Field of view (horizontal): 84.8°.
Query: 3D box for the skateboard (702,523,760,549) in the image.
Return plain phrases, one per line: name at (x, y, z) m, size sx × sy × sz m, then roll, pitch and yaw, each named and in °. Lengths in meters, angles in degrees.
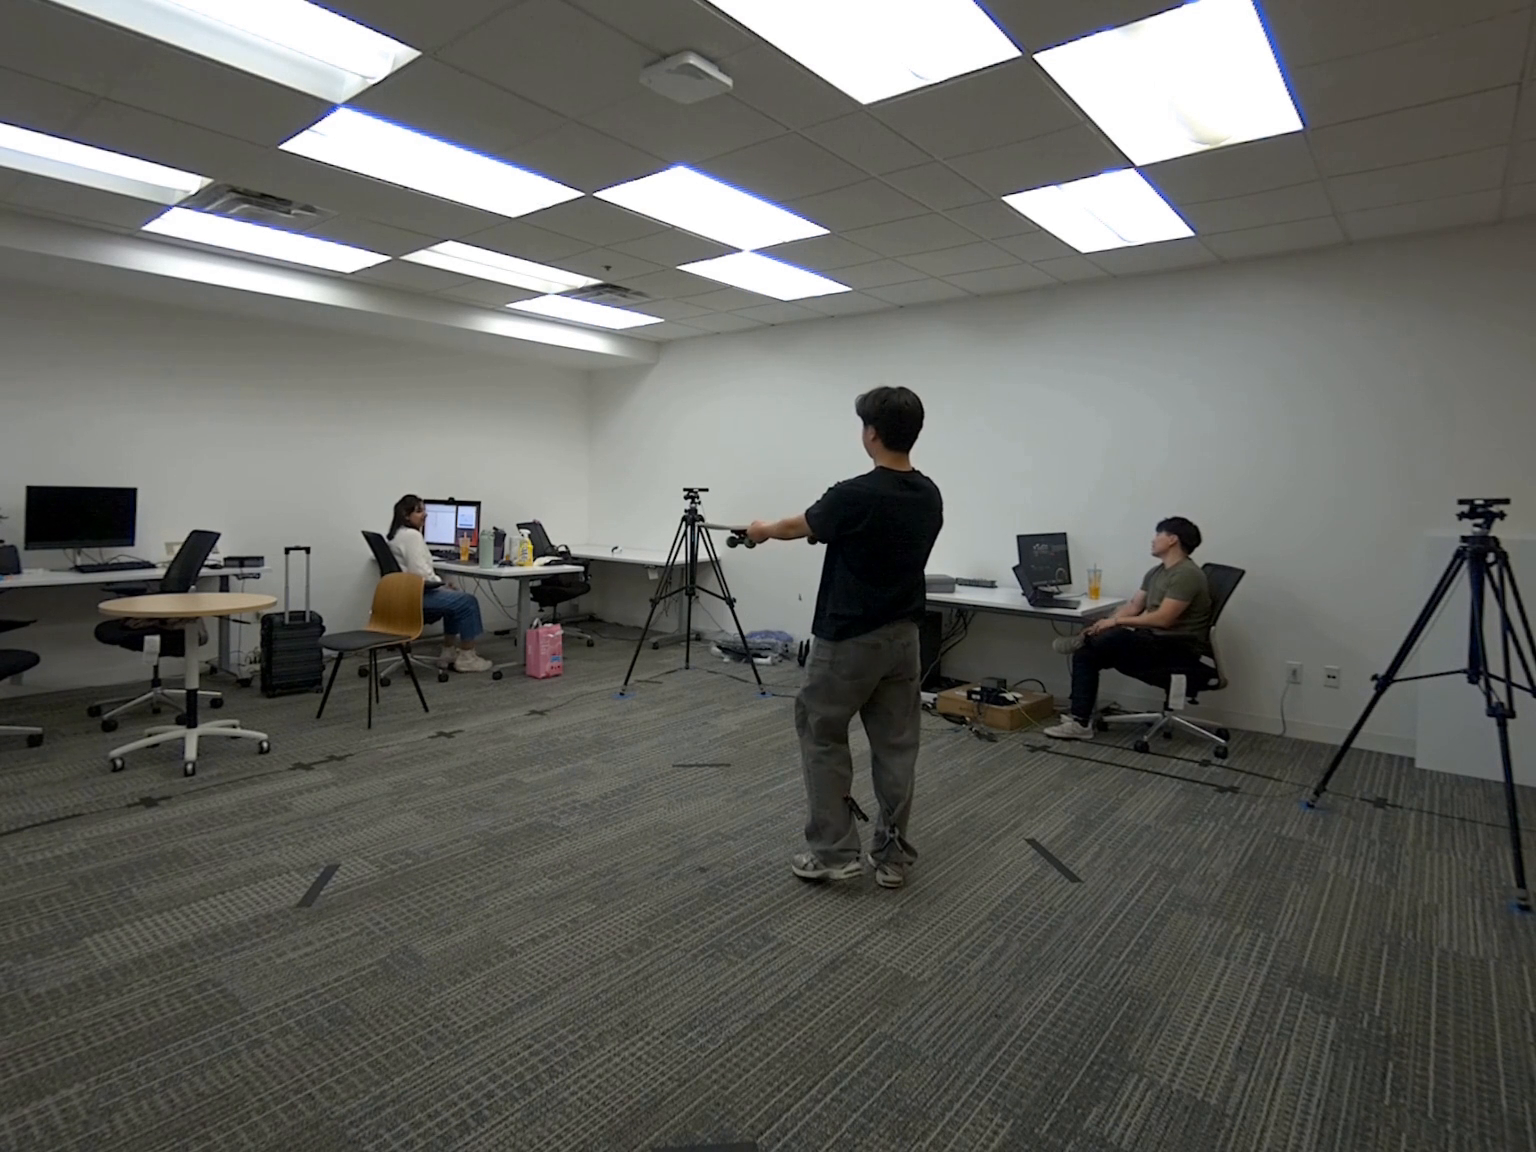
skateboard at (0.051, -0.182, 3.567) m, size 0.767 × 0.110 × 0.198 m, roll -2°, pitch 2°, yaw -24°
